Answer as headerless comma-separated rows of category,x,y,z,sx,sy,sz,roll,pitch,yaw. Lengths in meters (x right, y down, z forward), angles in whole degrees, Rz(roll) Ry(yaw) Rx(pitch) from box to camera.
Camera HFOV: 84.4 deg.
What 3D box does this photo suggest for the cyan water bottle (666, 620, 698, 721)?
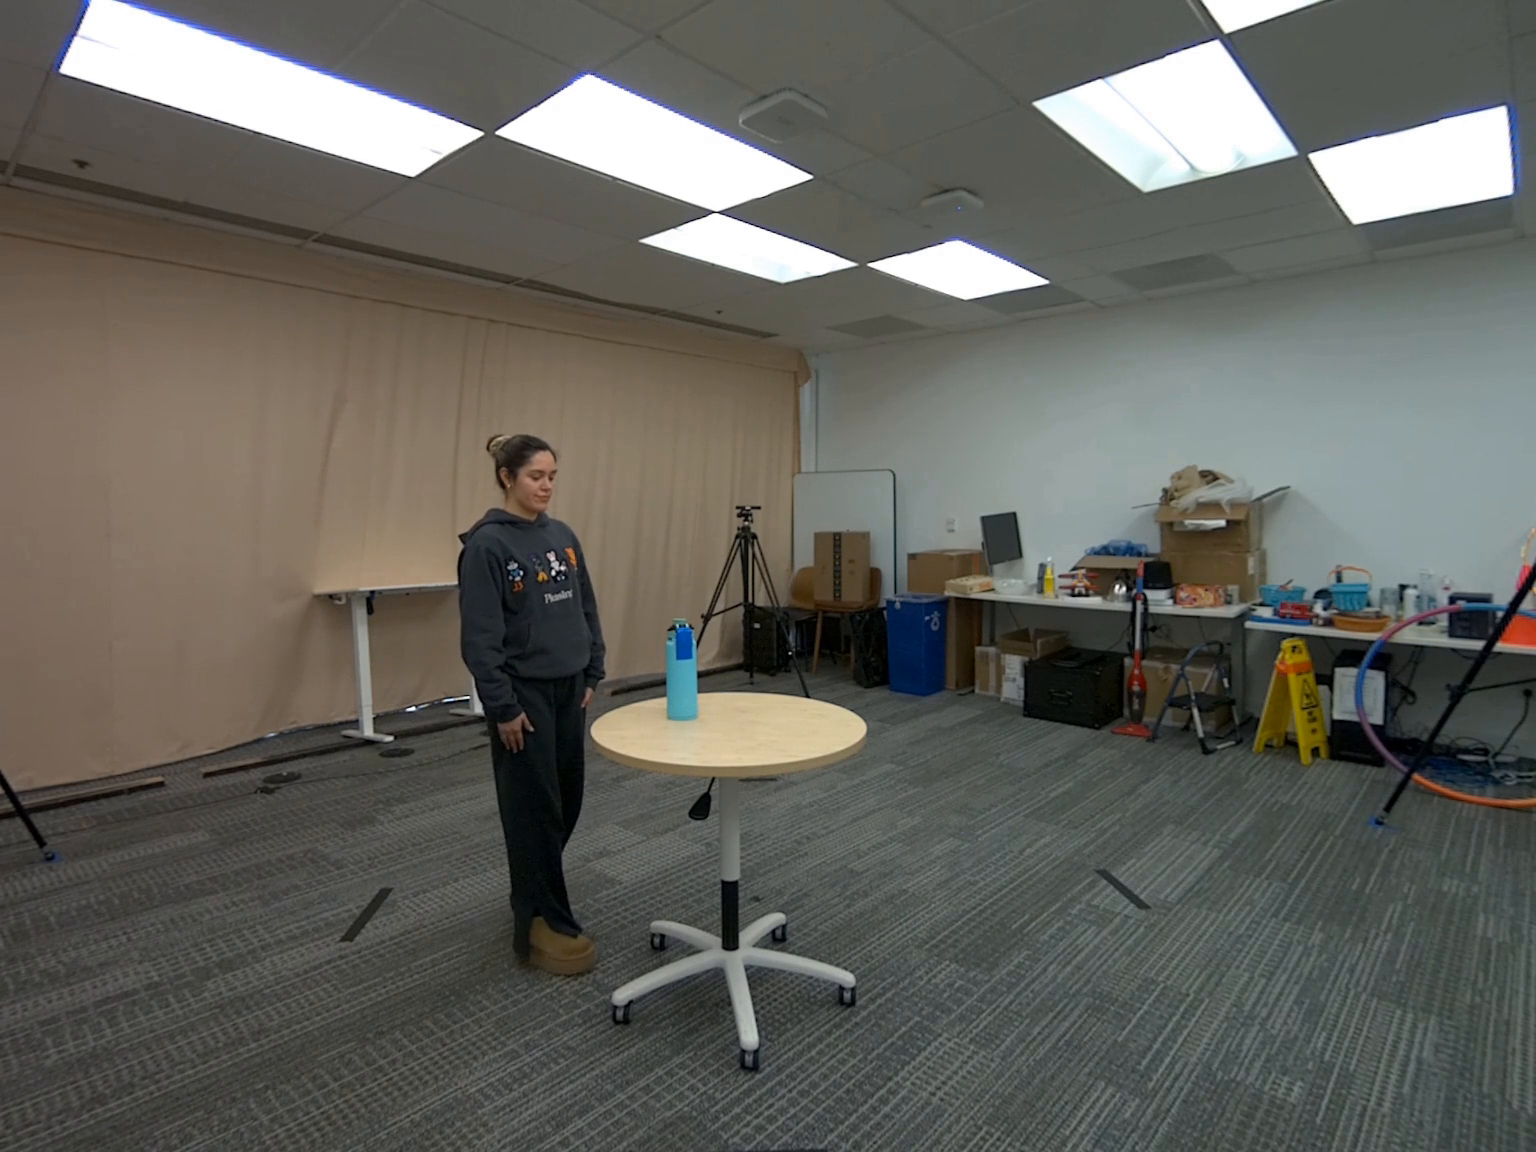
cyan water bottle,-0.242,0.272,2.420,0.092,0.283,0.092,-1,3,-2
